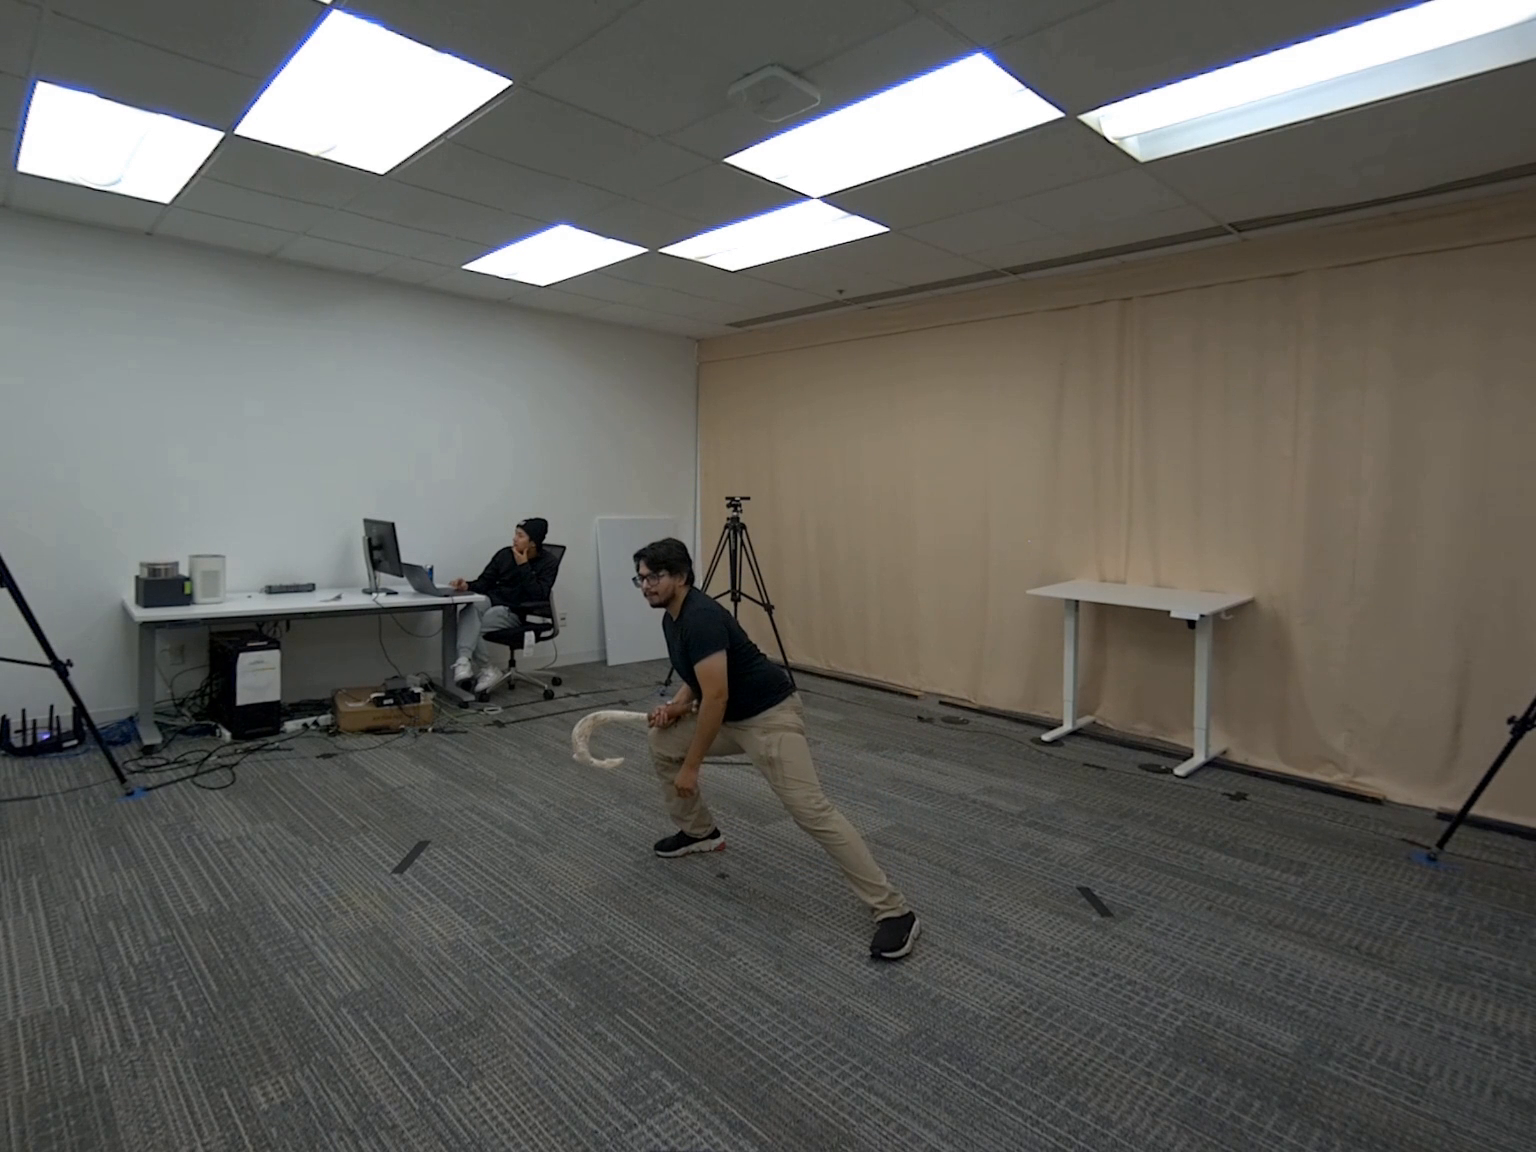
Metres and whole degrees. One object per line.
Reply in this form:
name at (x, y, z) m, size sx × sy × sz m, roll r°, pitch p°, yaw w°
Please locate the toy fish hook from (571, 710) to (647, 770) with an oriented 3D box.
toy fish hook at (-0.504, 0.596, 3.203) m, size 0.507 × 0.229 × 0.047 m, roll -13°, pitch -22°, yaw 2°
